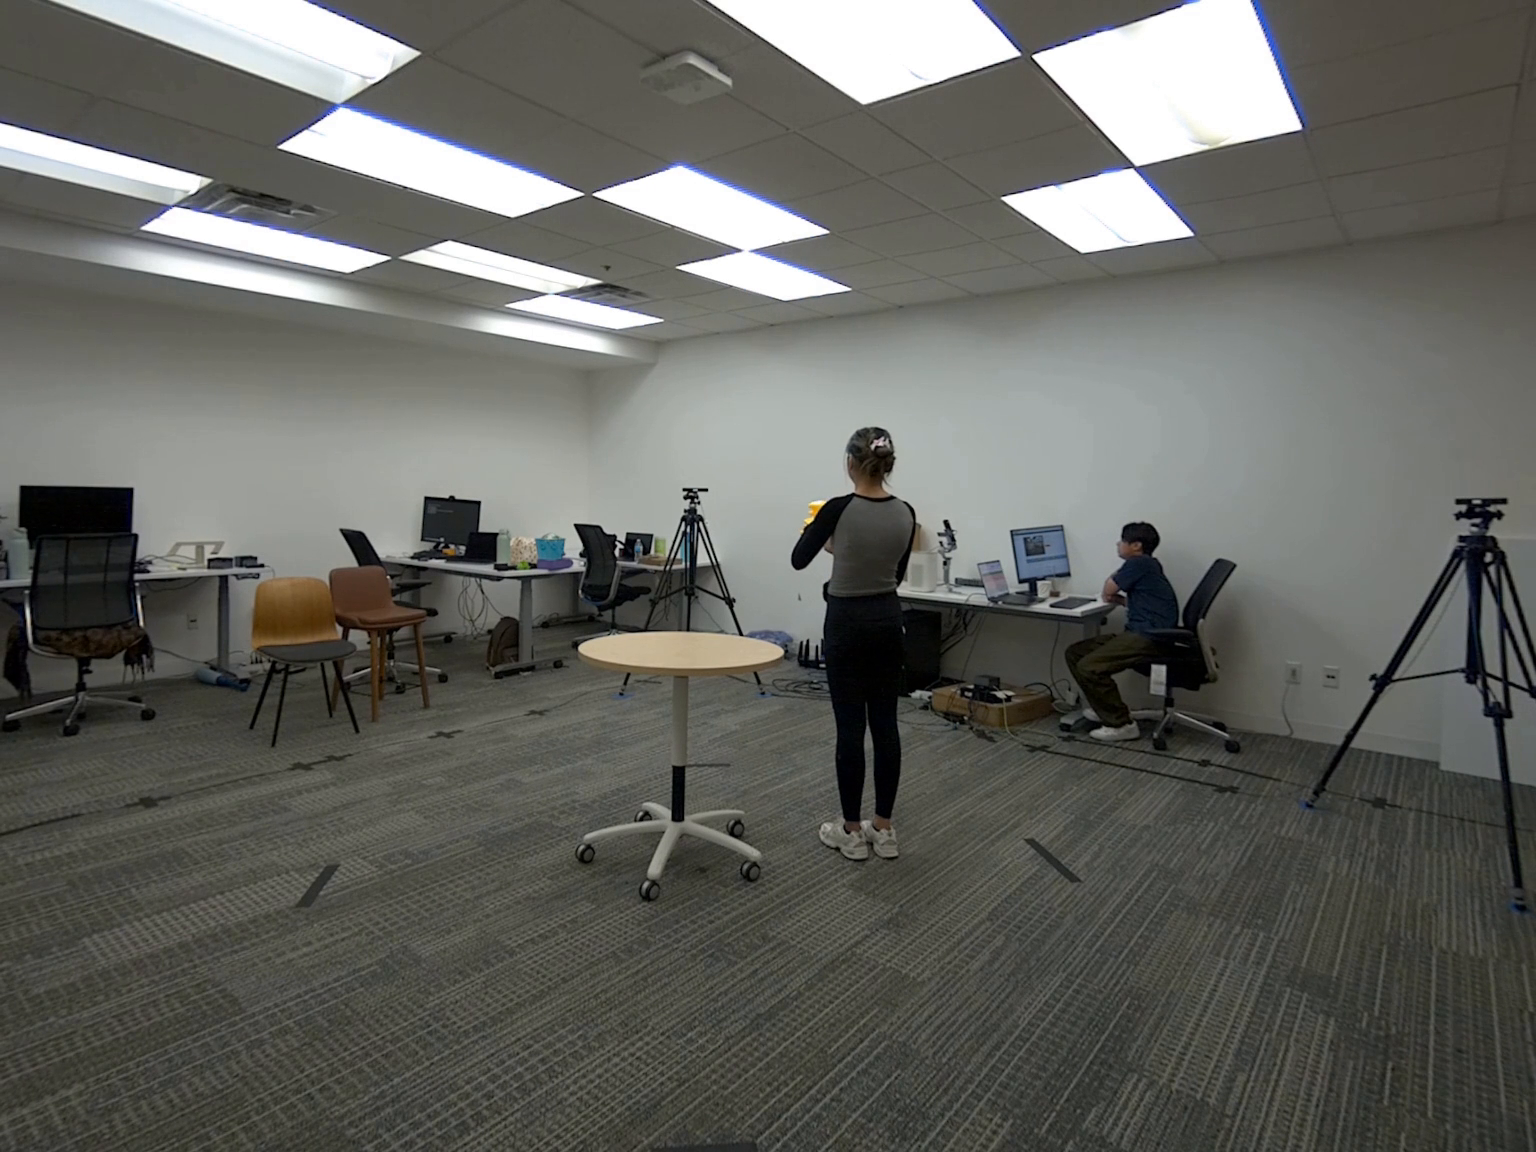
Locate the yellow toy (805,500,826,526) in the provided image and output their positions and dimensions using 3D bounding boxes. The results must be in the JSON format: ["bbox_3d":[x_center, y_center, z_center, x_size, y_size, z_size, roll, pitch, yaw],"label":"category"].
[{"bbox_3d":[0.256,-0.194,3.649,0.191,0.202,0.236,12,18,-11],"label":"yellow toy"}]
